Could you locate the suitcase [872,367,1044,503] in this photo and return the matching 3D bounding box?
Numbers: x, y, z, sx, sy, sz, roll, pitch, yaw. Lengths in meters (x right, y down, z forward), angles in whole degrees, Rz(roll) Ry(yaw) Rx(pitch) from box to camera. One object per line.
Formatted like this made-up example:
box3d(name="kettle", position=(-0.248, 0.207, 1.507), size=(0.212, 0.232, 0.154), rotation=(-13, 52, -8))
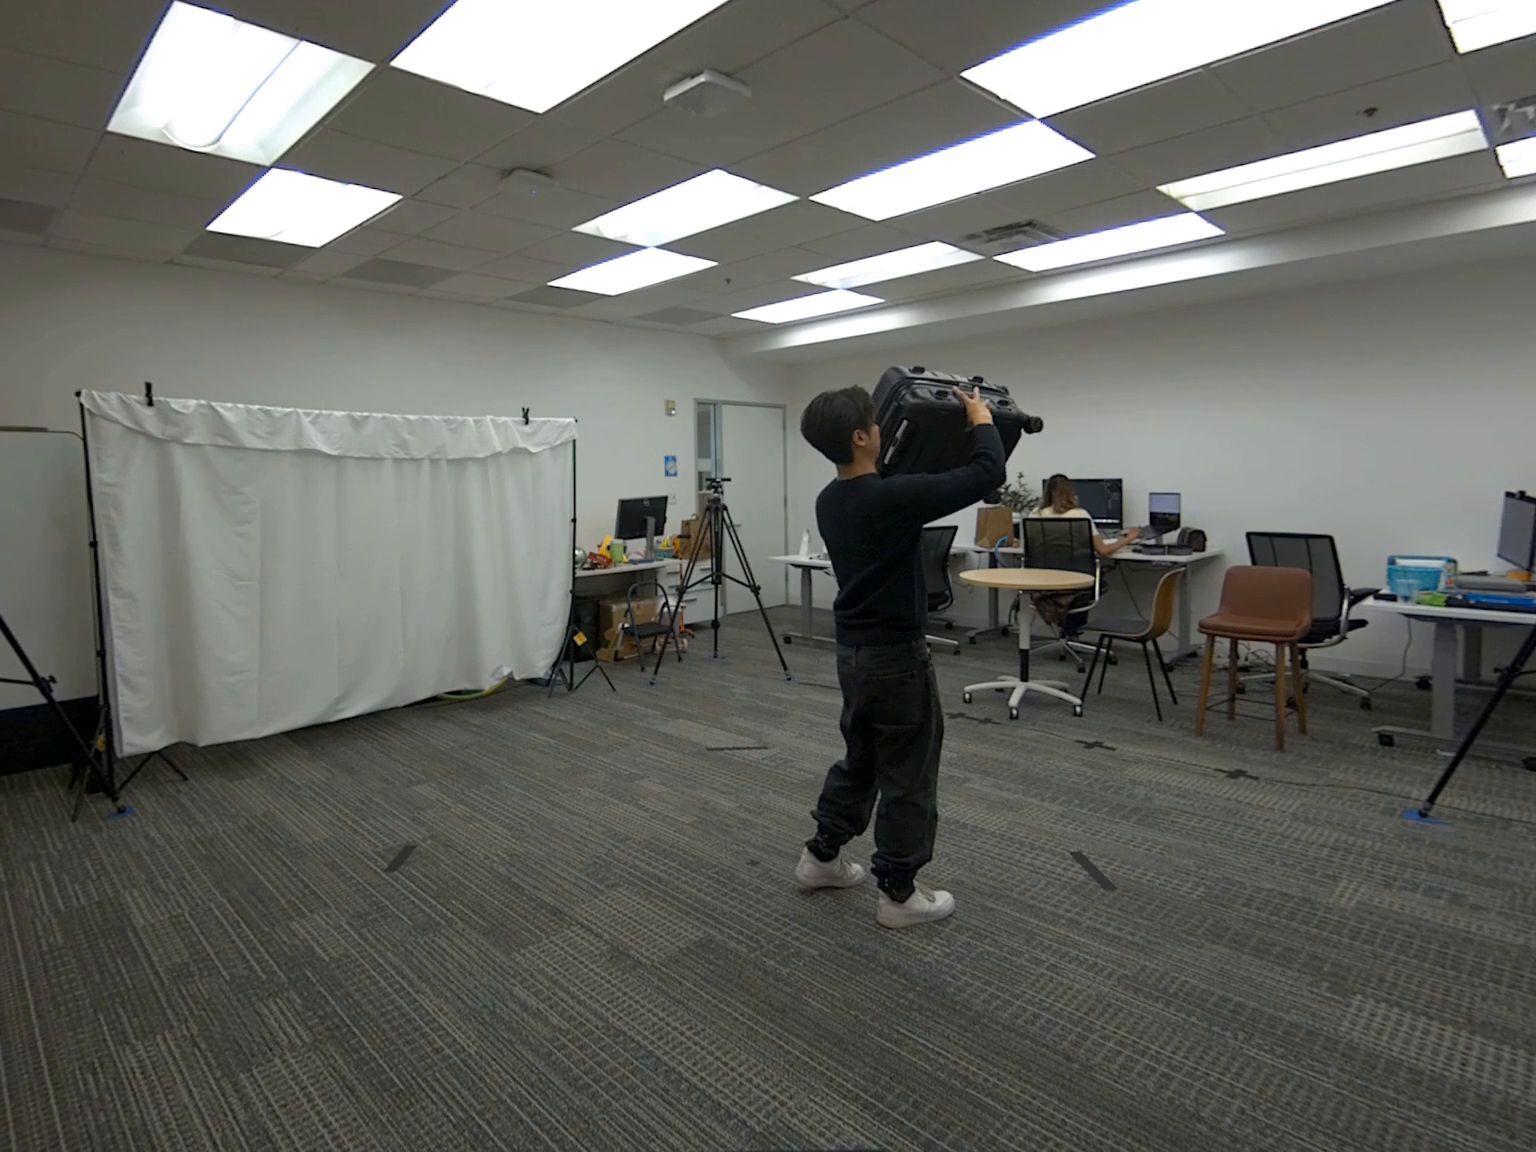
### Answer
box3d(name="suitcase", position=(0.580, -0.484, 2.890), size=(0.535, 0.371, 0.258), rotation=(5, 37, -28))
